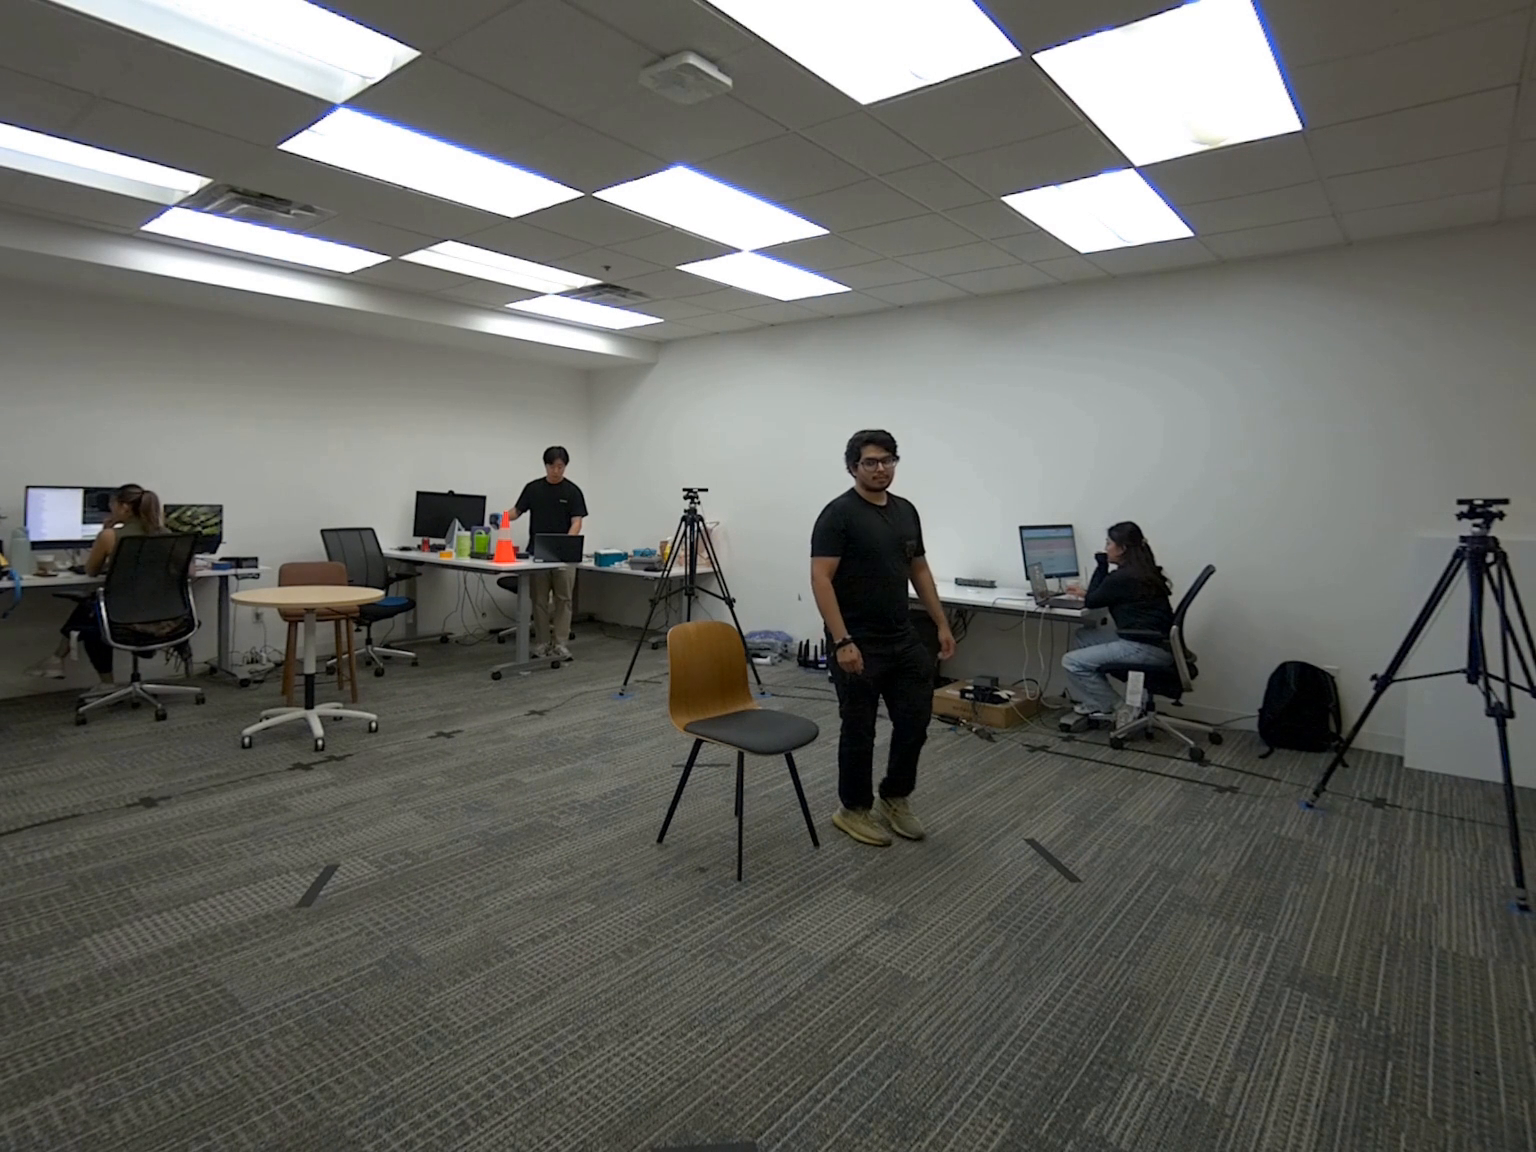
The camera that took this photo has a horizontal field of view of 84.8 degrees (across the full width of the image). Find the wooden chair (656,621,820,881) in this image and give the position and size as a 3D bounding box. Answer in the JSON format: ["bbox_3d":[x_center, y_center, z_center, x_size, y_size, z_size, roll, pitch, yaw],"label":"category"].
[{"bbox_3d":[-0.110,0.625,3.298,0.539,0.878,0.463,-3,-1,44],"label":"wooden chair"}]
